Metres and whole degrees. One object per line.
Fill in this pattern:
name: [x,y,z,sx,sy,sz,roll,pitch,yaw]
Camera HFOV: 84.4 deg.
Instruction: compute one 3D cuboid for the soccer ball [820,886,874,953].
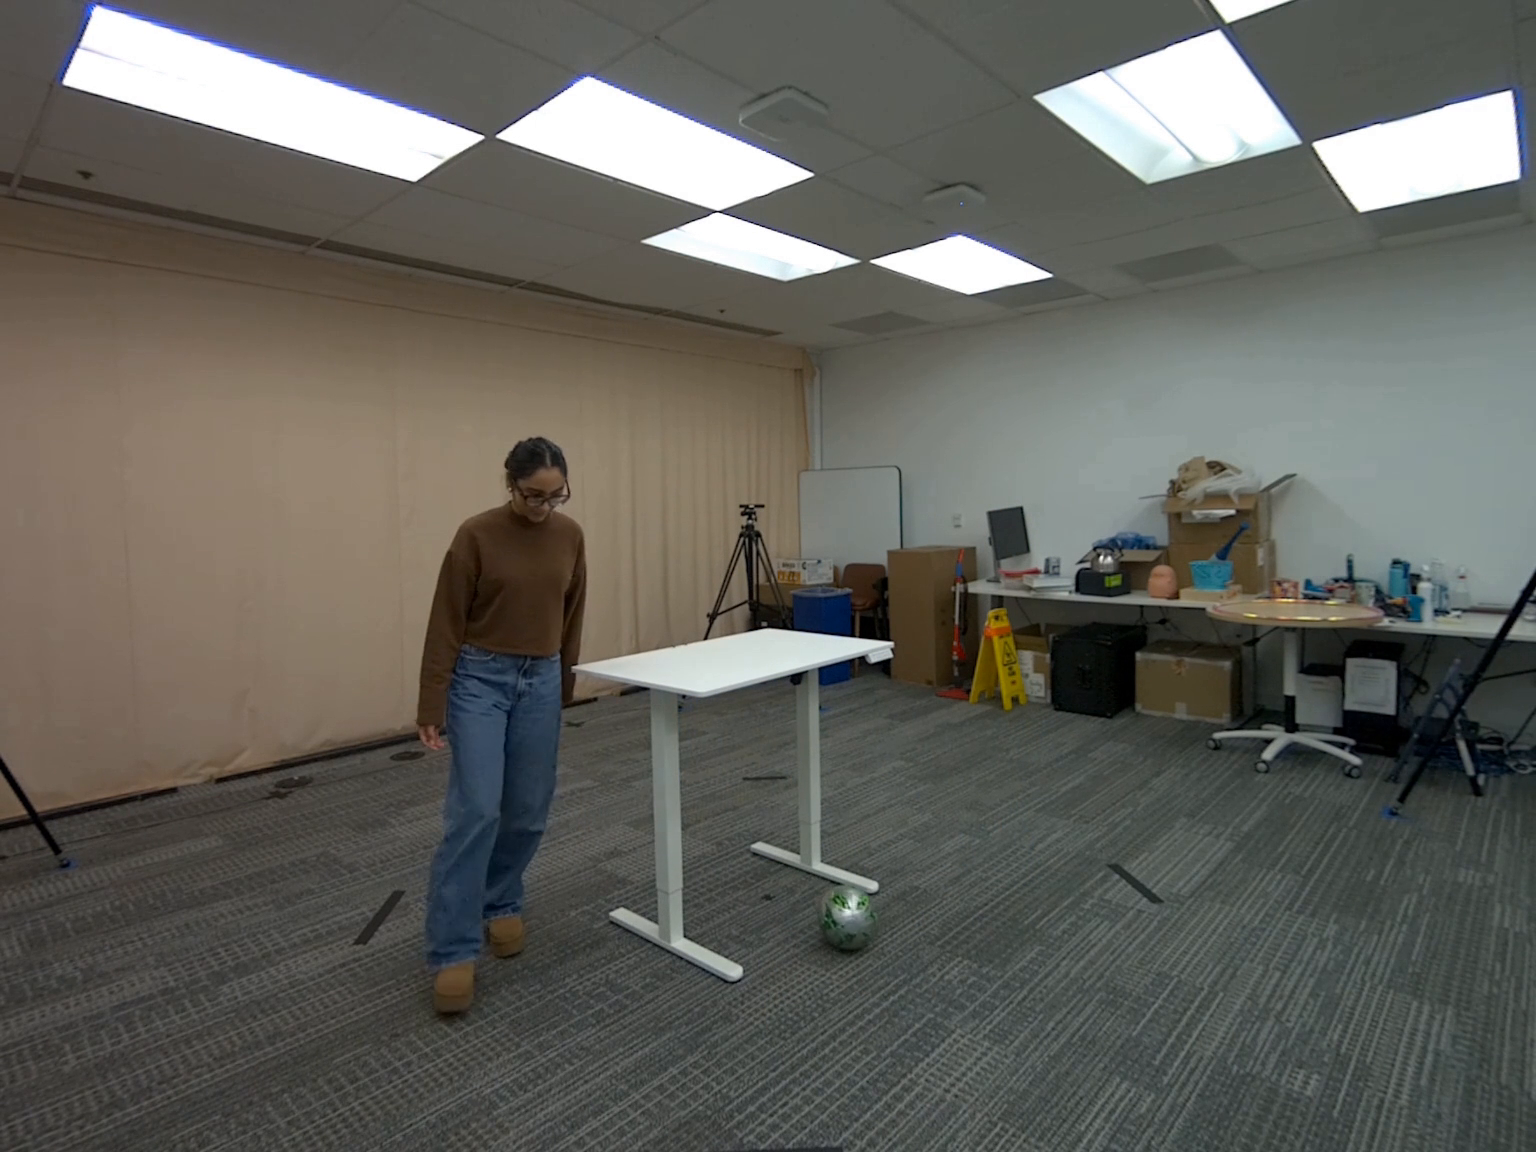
soccer ball: [0.252,1.072,2.630,0.187,0.187,0.188,-1,4,-2]
